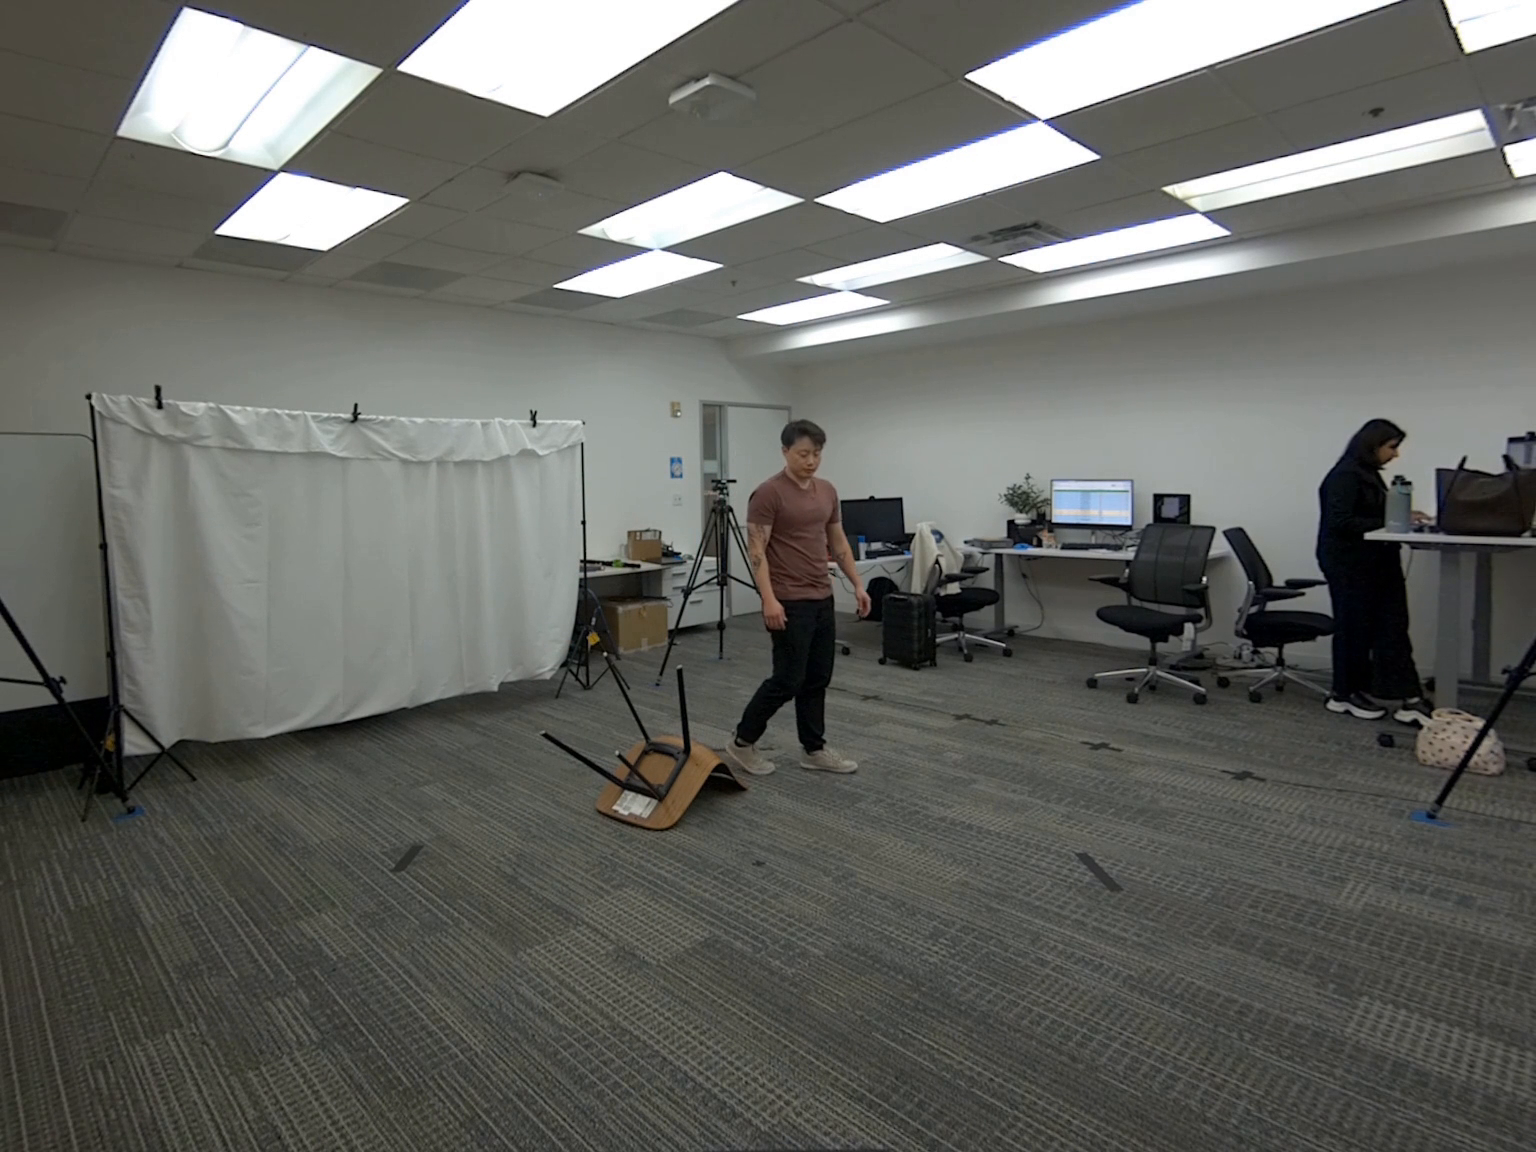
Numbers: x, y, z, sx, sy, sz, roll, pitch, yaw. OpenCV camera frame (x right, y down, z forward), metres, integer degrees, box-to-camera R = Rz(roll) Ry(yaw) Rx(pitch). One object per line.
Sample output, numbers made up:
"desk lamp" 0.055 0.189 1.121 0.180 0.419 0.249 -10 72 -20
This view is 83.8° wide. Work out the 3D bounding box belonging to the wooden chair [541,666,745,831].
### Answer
"wooden chair" -0.485 0.824 3.651 0.492 0.847 0.526 2 45 37
